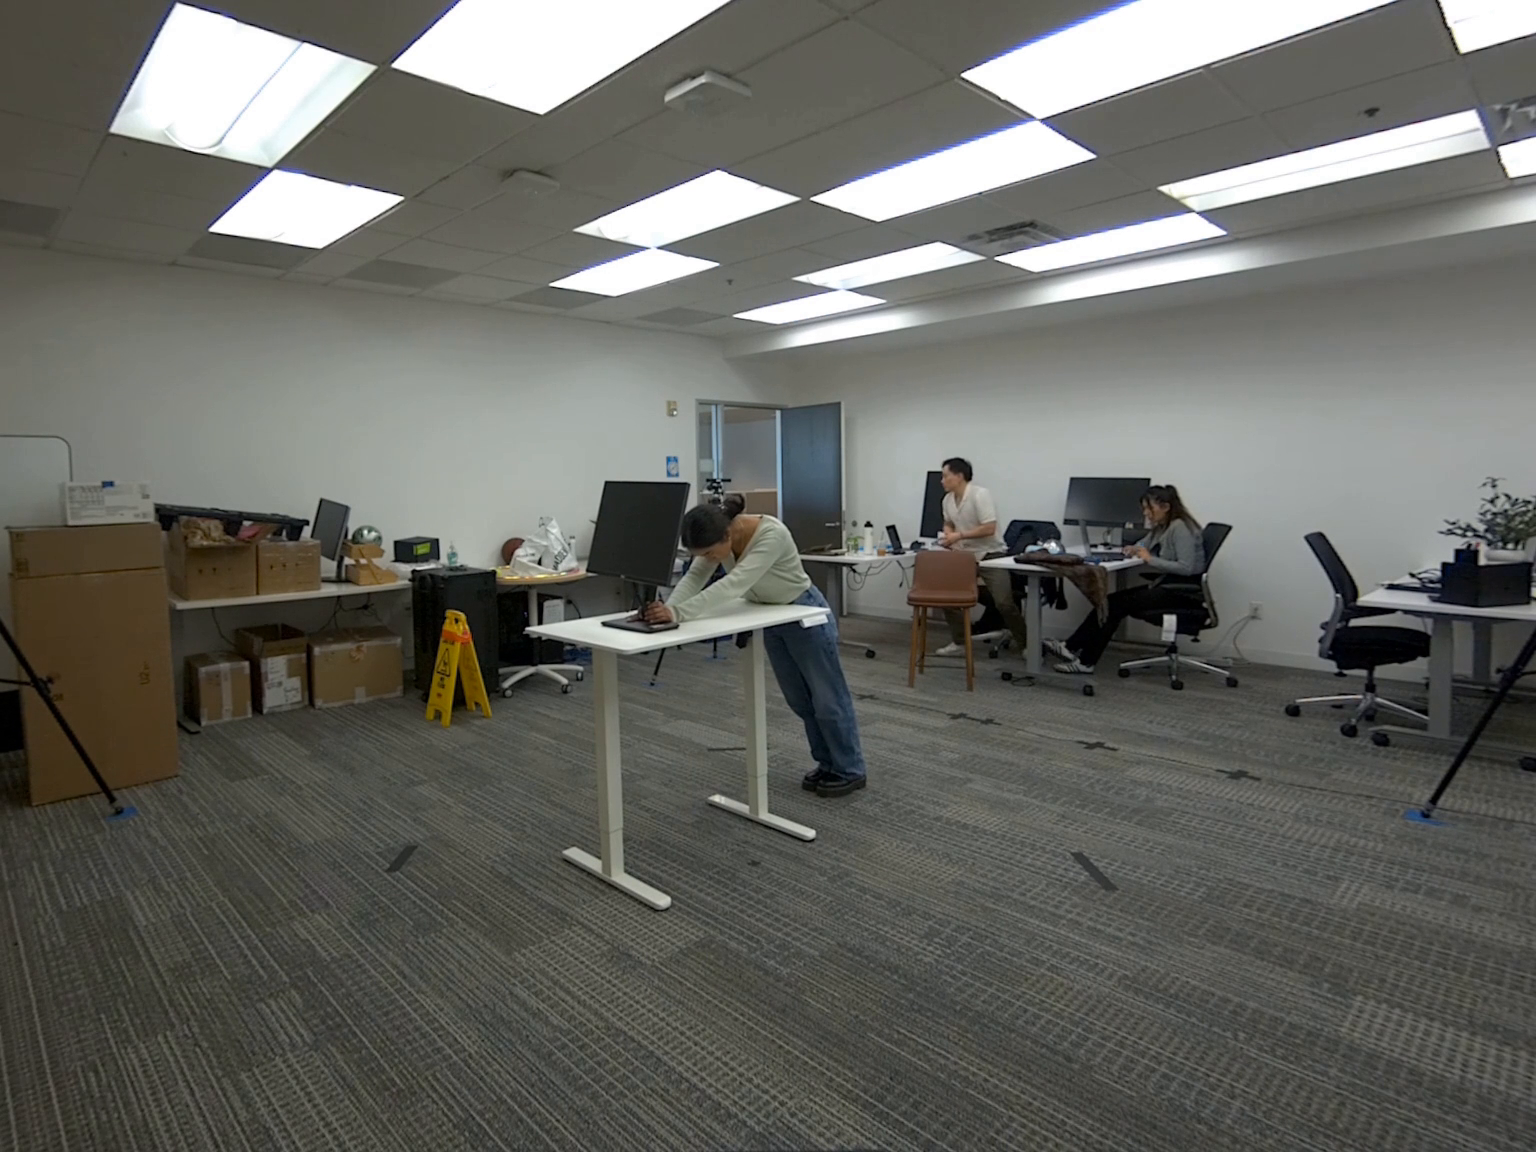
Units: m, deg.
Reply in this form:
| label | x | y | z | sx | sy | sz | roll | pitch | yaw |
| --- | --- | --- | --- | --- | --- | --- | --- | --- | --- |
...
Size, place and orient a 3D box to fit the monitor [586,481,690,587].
| label | x | y | z | sx | sy | sz | roll | pitch | yaw |
| --- | --- | --- | --- | --- | --- | --- | --- | --- | --- |
| monitor | -0.446 | -0.073 | 3.020 | 0.182 | 0.521 | 0.556 | -1 | 5 | -42 |
